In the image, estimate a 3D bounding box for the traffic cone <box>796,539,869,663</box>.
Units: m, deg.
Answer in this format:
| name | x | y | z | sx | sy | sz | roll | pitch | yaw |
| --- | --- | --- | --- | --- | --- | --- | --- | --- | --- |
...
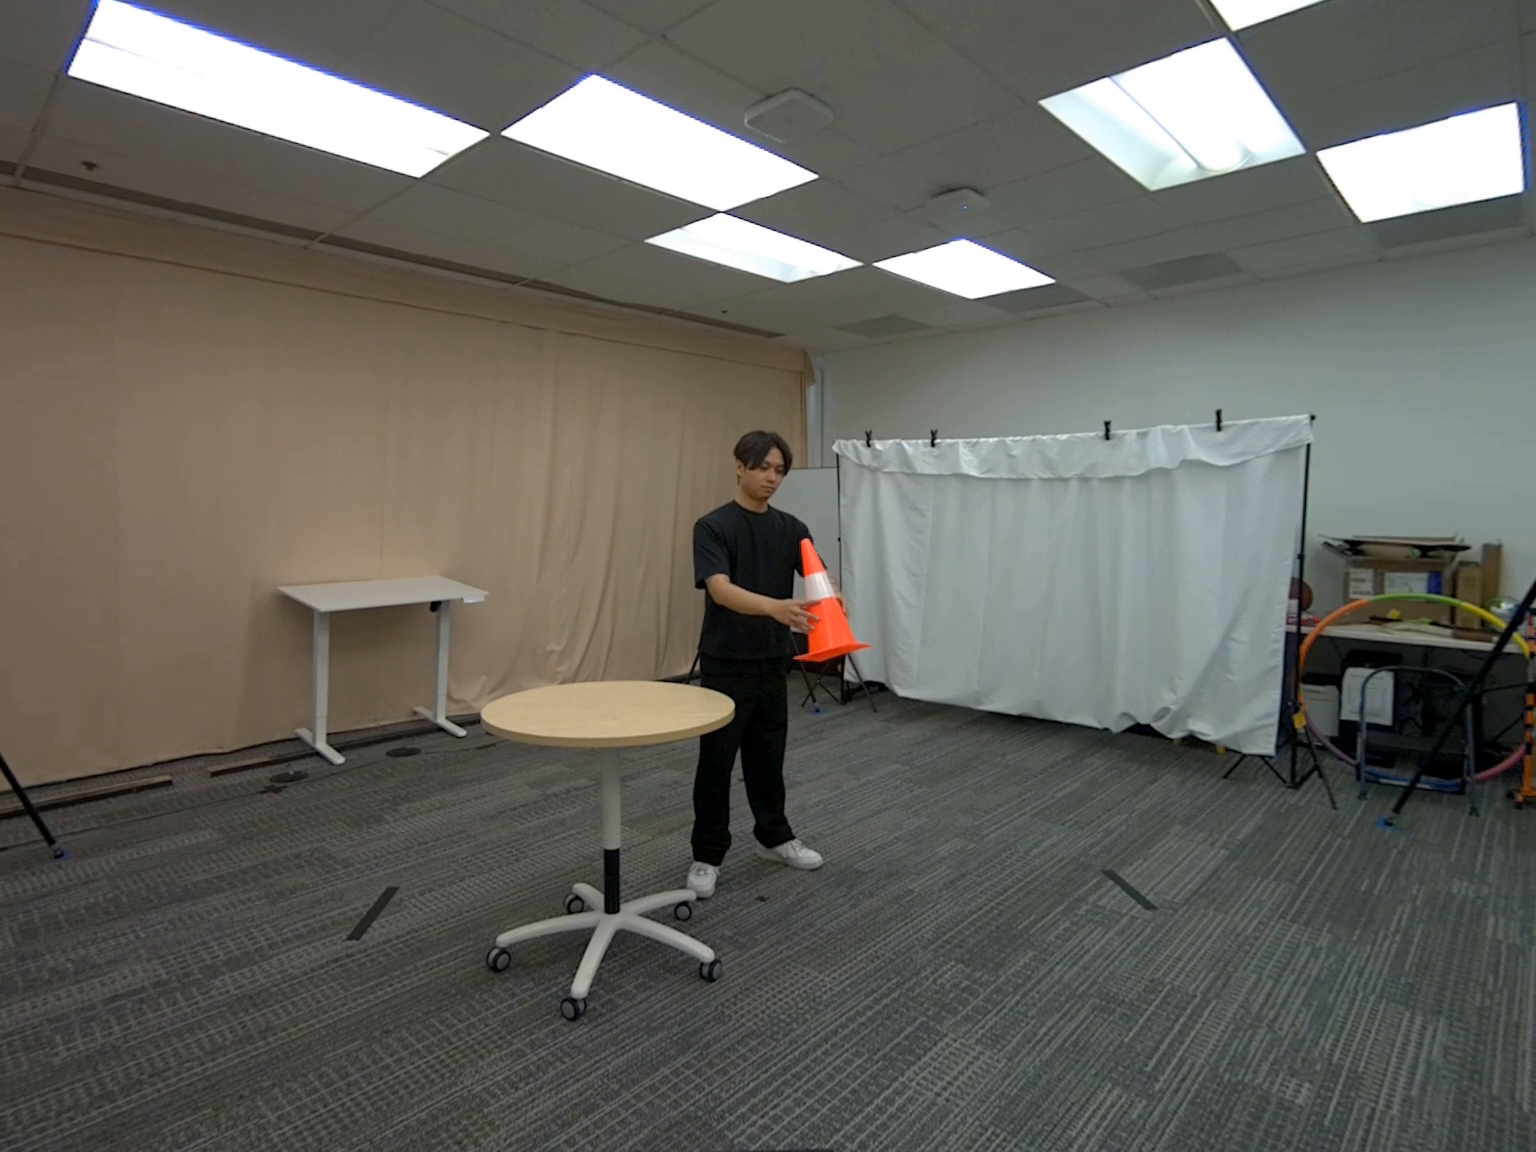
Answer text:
| name | x | y | z | sx | sy | sz | roll | pitch | yaw |
| --- | --- | --- | --- | --- | --- | --- | --- | --- | --- |
| traffic cone | 0.172 | 0.067 | 2.730 | 0.209 | 0.389 | 0.196 | -23 | -21 | 34 |
